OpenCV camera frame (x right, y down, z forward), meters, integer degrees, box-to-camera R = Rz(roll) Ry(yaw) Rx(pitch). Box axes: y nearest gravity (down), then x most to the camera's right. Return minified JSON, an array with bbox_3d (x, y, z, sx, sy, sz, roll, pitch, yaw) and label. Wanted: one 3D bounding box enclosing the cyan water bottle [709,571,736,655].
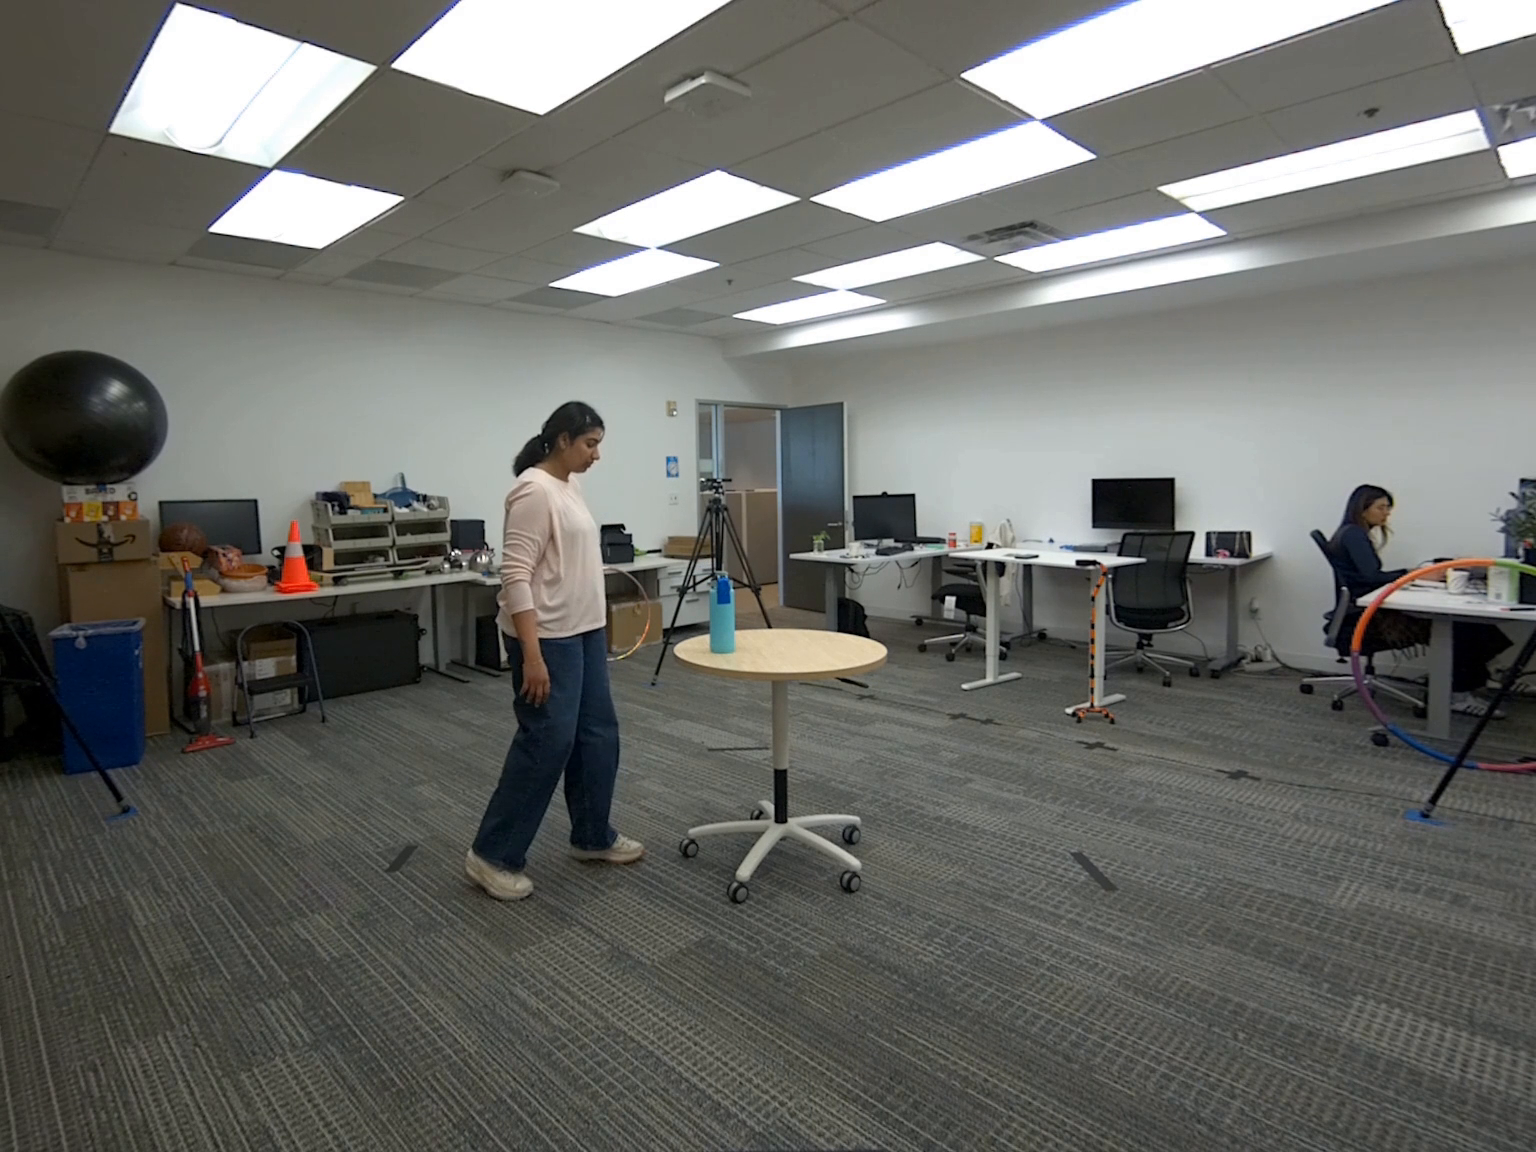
[{"bbox_3d":[-0.165,0.131,3.030,0.092,0.282,0.093,0,4,-2],"label":"cyan water bottle"}]
